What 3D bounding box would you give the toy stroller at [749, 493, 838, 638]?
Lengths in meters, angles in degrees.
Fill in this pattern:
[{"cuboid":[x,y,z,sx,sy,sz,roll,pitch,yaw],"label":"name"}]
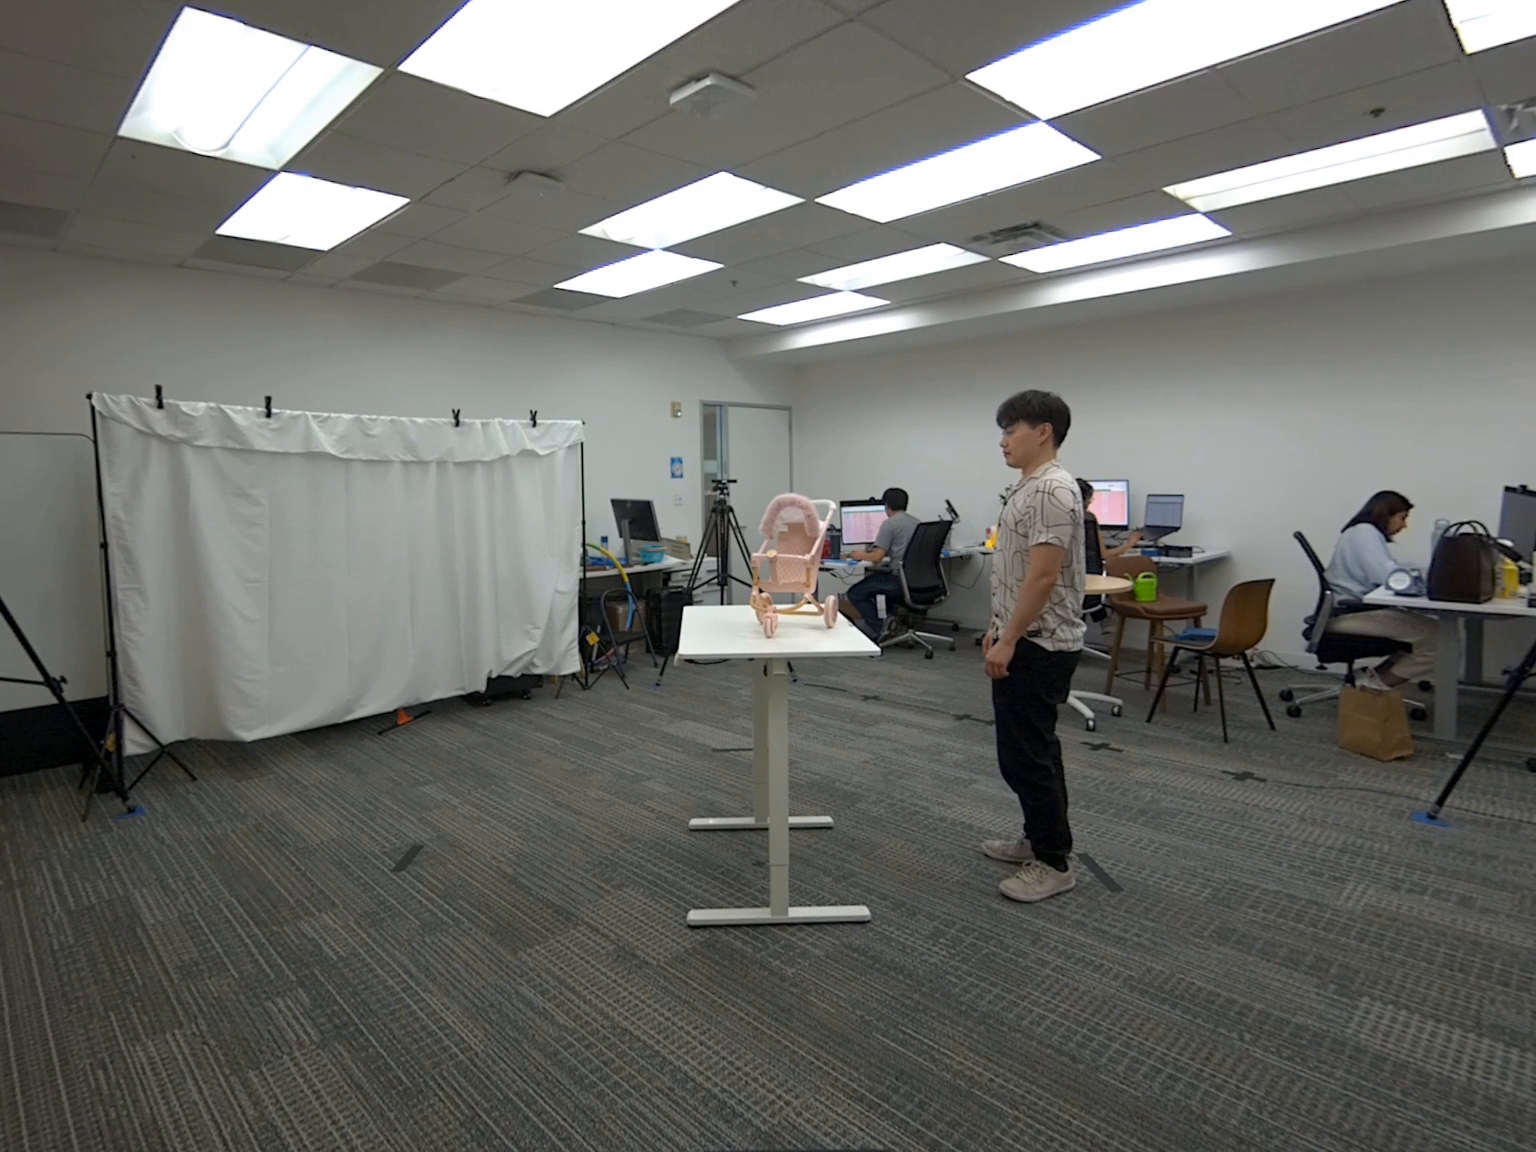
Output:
[{"cuboid":[0.078,-0.044,2.940,0.288,0.539,0.330,1,-11,28],"label":"toy stroller"}]
